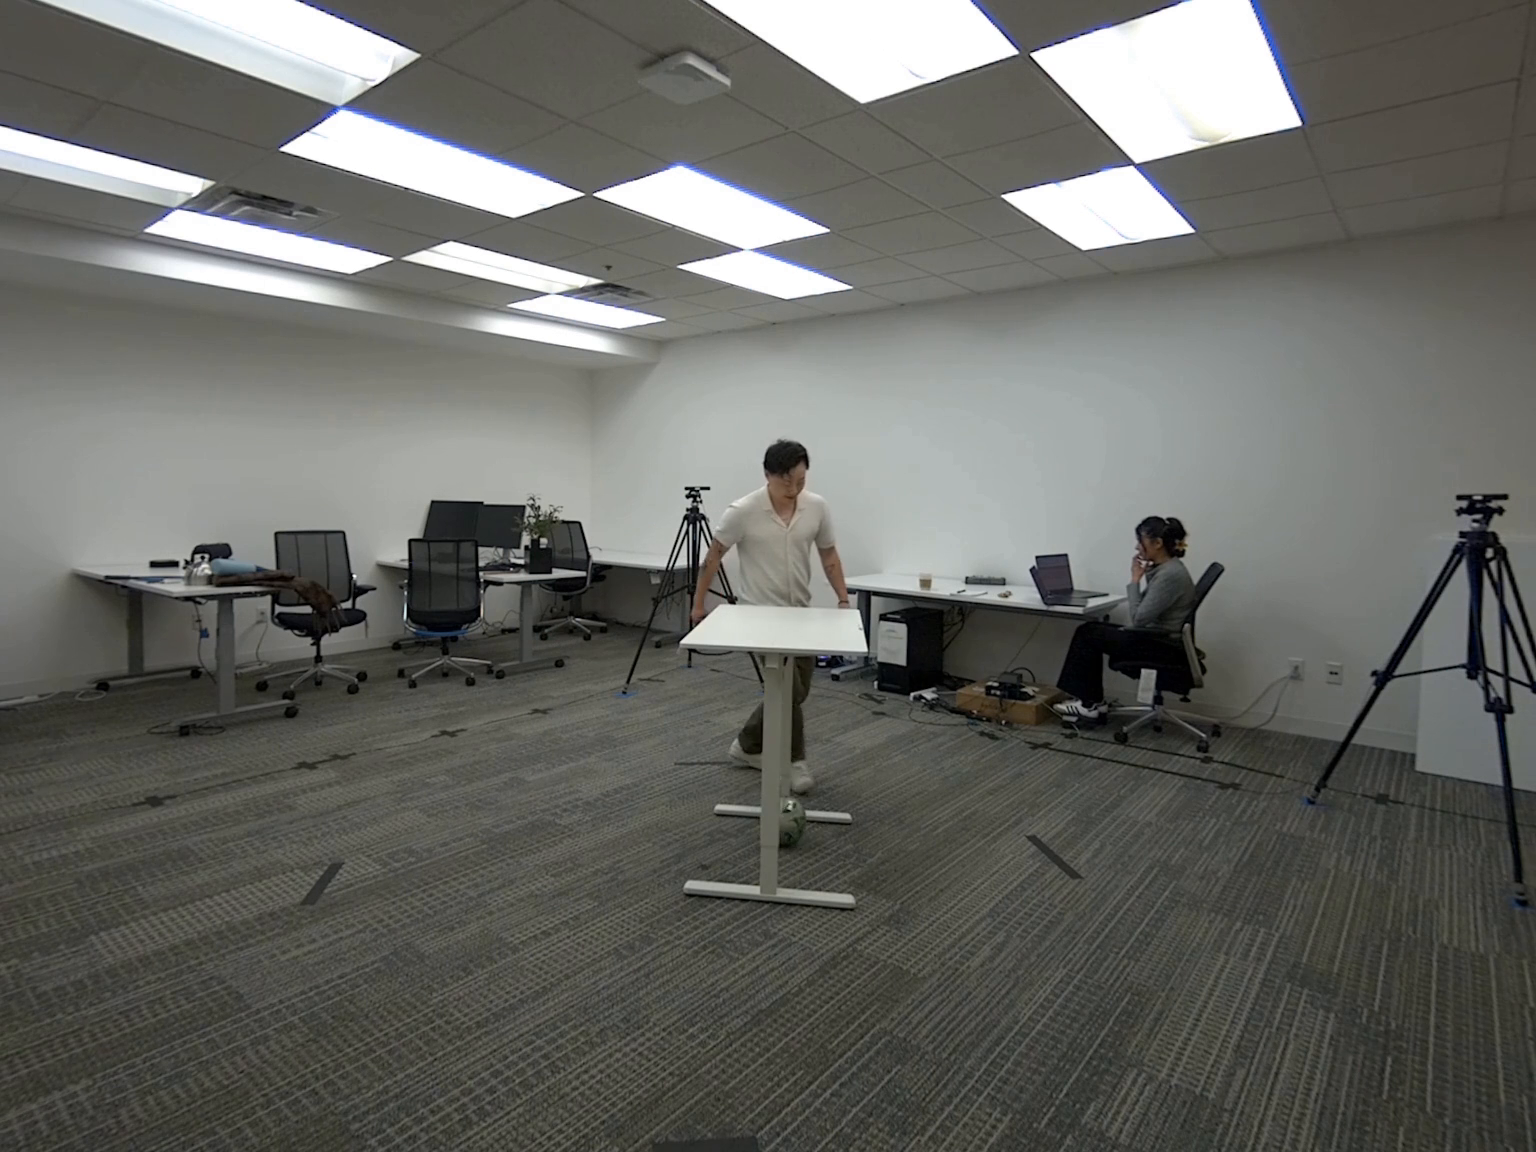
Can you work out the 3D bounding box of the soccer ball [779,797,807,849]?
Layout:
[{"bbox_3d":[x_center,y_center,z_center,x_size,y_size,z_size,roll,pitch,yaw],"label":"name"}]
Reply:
[{"bbox_3d":[0.050,0.949,3.334,0.187,0.187,0.188,1,4,-2],"label":"soccer ball"}]
